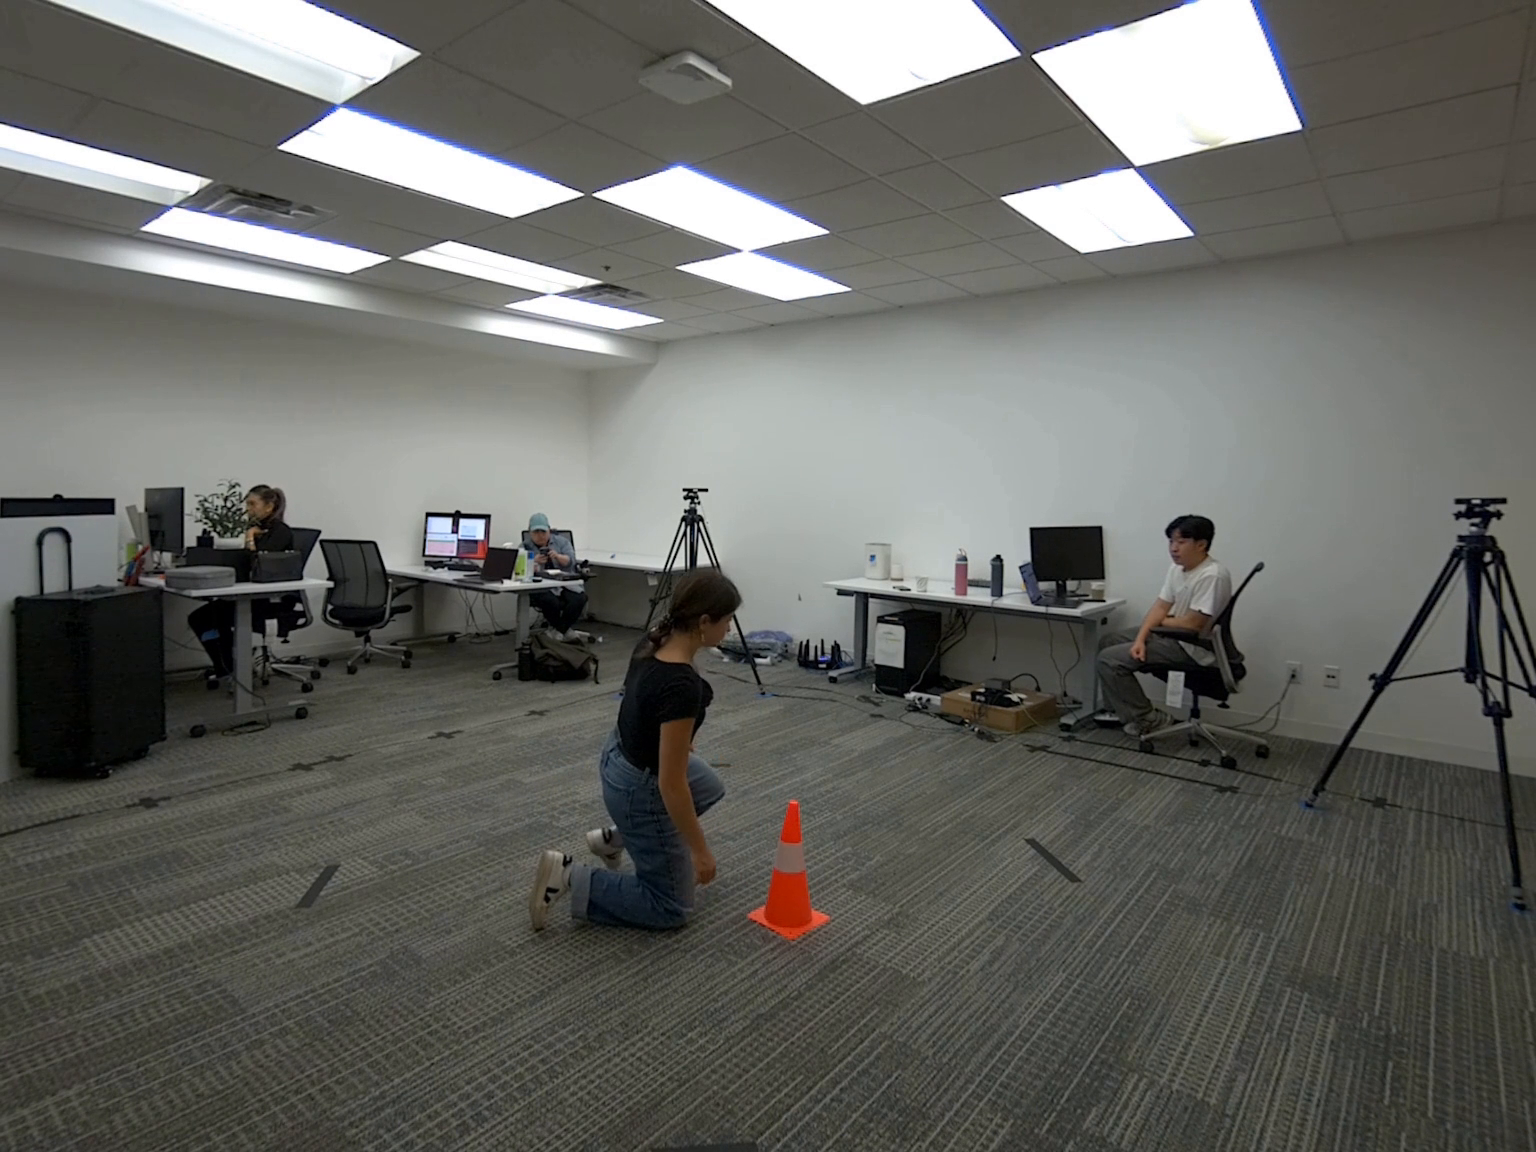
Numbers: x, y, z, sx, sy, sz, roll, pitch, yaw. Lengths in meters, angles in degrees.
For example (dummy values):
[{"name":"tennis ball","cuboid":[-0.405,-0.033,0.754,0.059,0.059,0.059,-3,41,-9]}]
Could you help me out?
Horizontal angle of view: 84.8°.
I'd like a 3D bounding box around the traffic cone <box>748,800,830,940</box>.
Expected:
[{"name":"traffic cone","cuboid":[0.069,0.921,2.767,0.210,0.383,0.199,3,3,38]}]
